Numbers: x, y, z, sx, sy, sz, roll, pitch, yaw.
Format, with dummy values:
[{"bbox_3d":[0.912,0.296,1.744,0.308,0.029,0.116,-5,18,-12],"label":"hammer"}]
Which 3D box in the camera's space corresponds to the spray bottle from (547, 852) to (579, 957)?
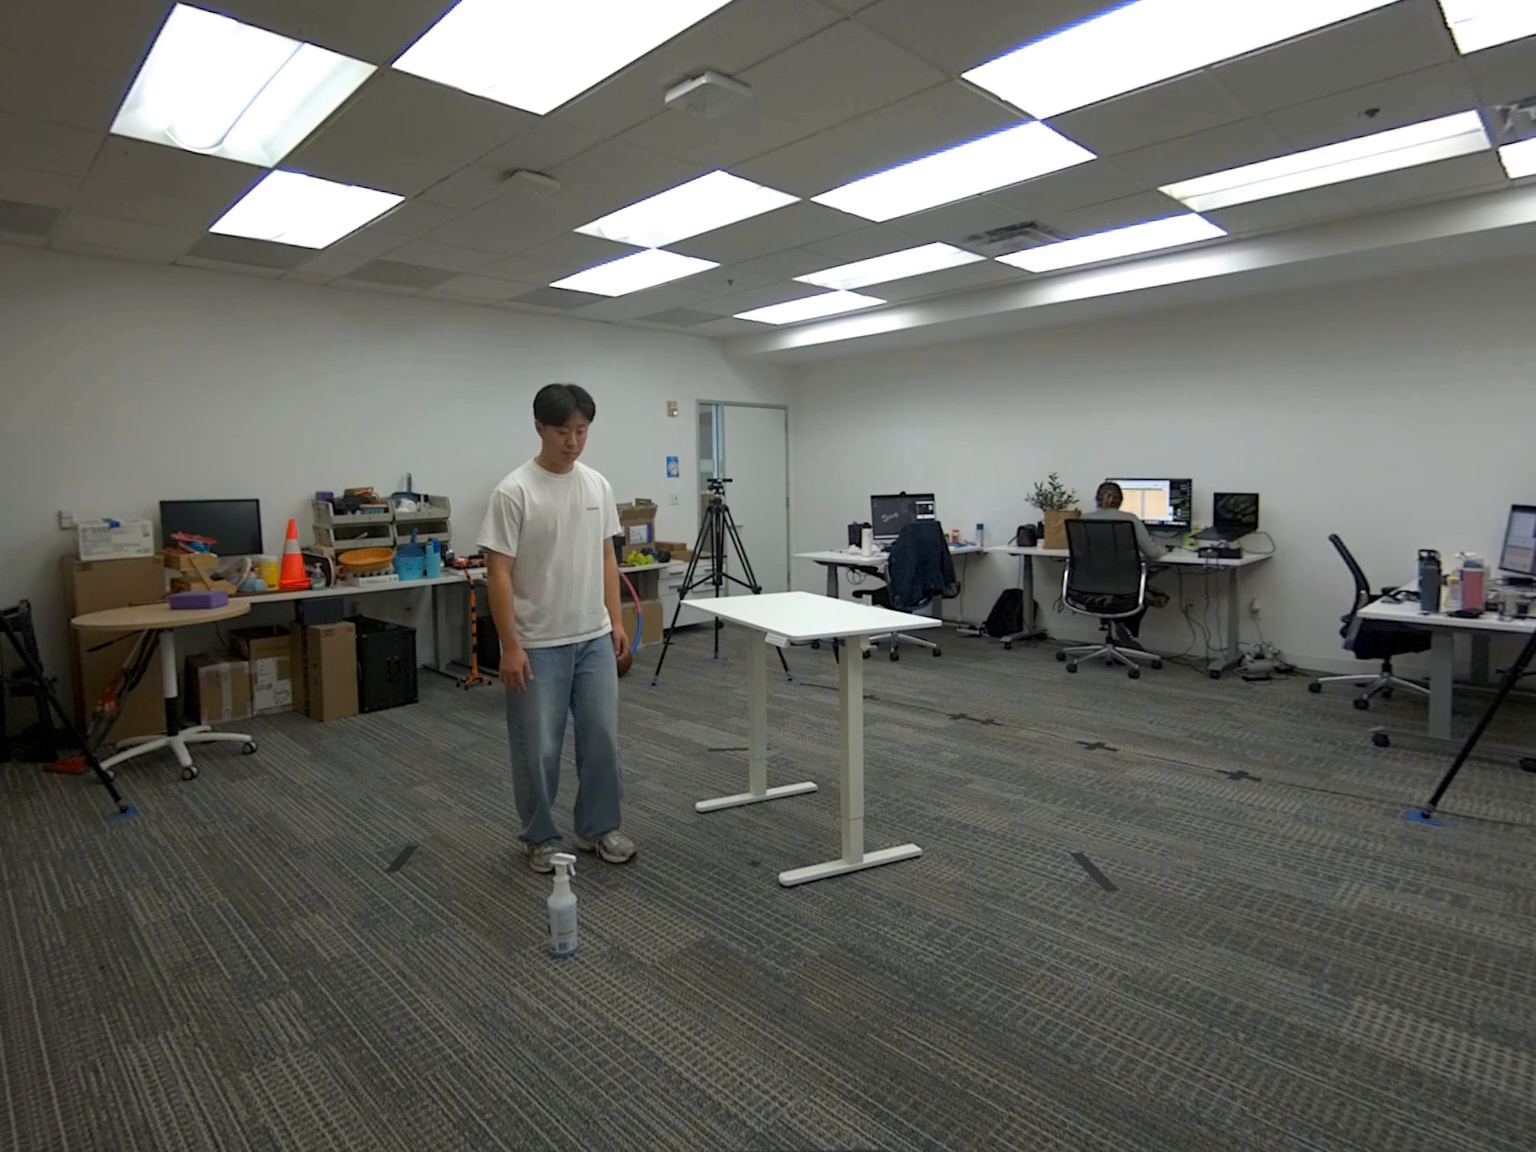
[{"bbox_3d":[-0.615,0.980,2.548,0.084,0.297,0.093,-1,3,-41],"label":"spray bottle"}]
